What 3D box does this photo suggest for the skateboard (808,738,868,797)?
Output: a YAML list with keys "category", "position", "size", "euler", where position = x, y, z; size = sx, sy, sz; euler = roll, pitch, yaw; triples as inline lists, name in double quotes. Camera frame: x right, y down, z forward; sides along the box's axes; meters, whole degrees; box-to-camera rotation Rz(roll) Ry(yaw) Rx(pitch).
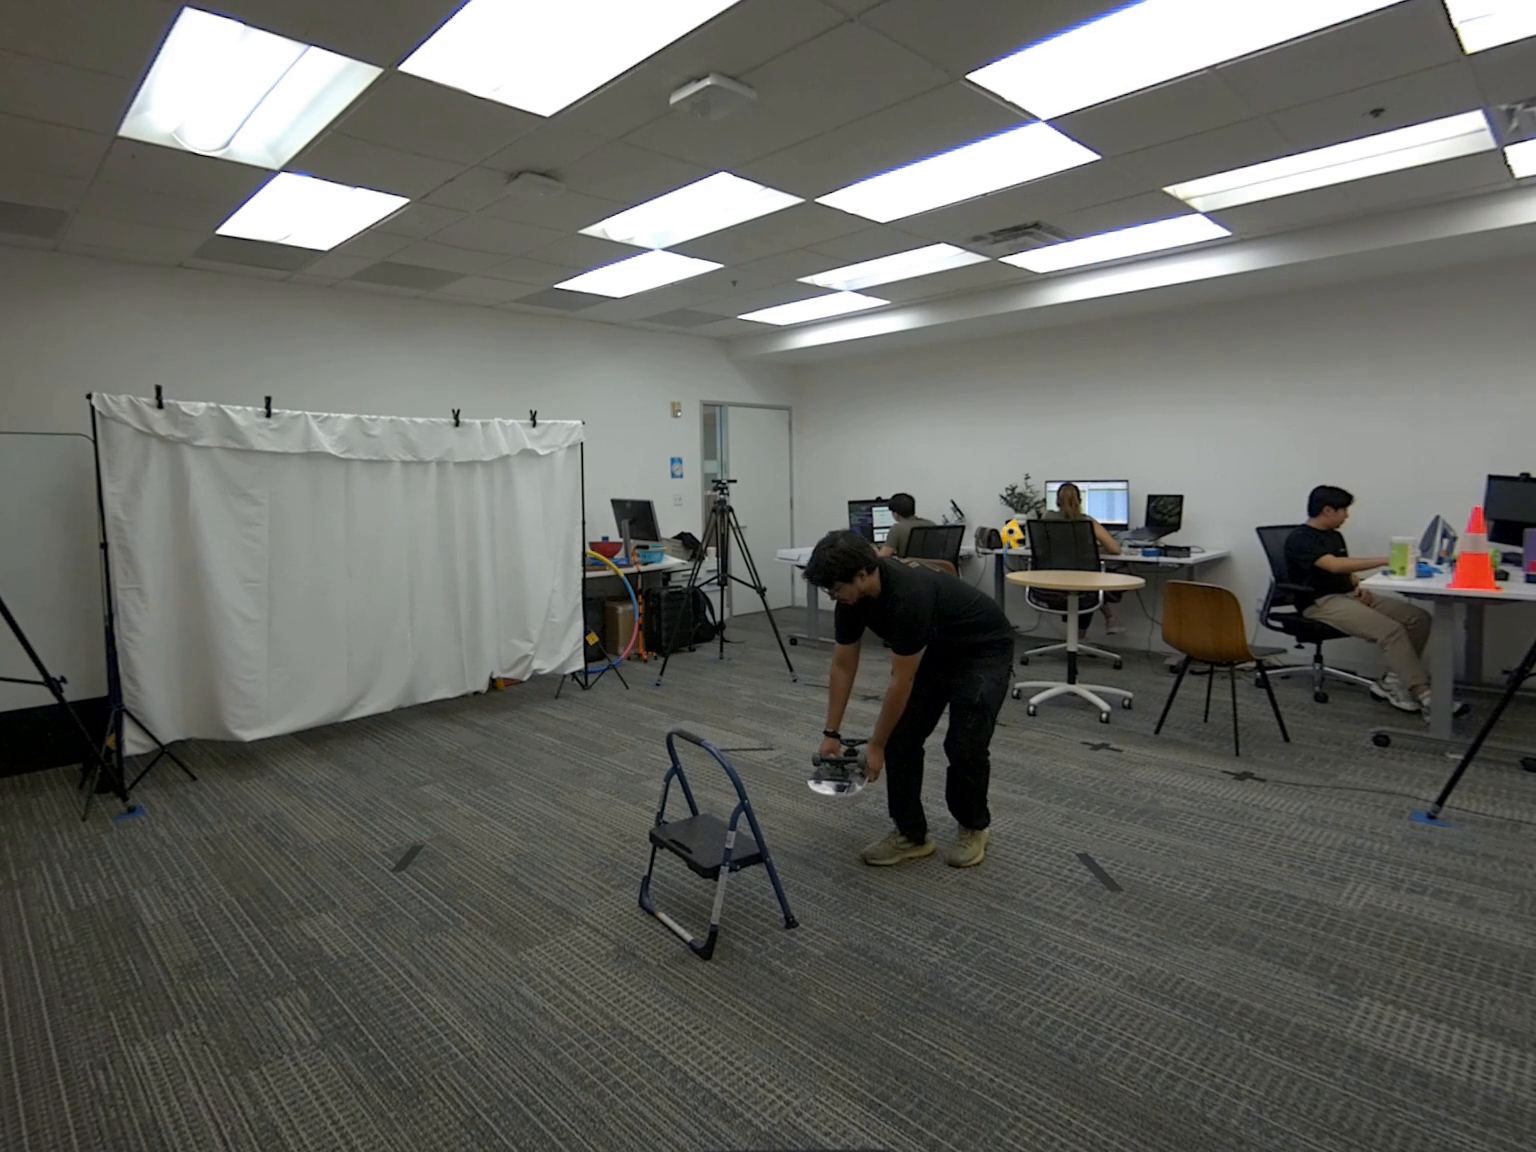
- category: "skateboard"
  position: [0.292, 0.676, 3.129]
  size: [0.195, 0.111, 0.775]
  euler: [0, -2, 9]
